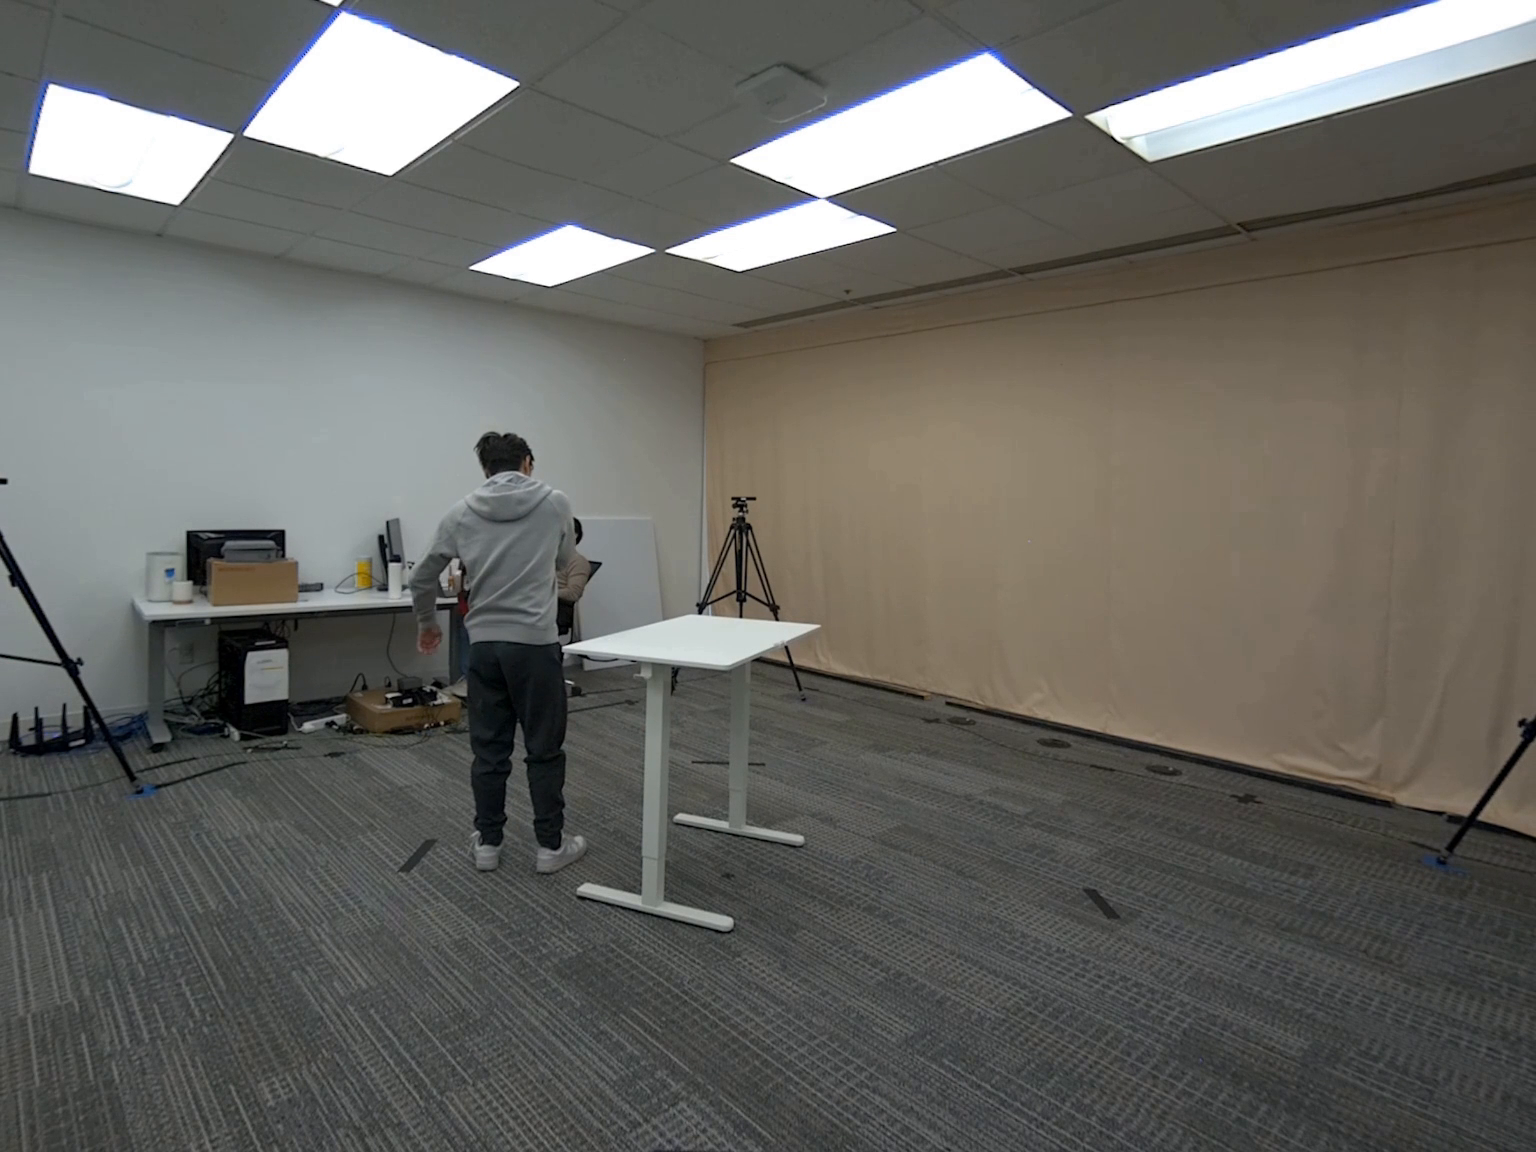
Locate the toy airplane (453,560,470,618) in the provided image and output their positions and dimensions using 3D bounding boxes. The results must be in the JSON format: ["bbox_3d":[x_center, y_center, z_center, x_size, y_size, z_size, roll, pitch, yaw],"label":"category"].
[{"bbox_3d":[-1.108,0.056,3.272,0.160,0.253,0.251,2,-28,45],"label":"toy airplane"}]
